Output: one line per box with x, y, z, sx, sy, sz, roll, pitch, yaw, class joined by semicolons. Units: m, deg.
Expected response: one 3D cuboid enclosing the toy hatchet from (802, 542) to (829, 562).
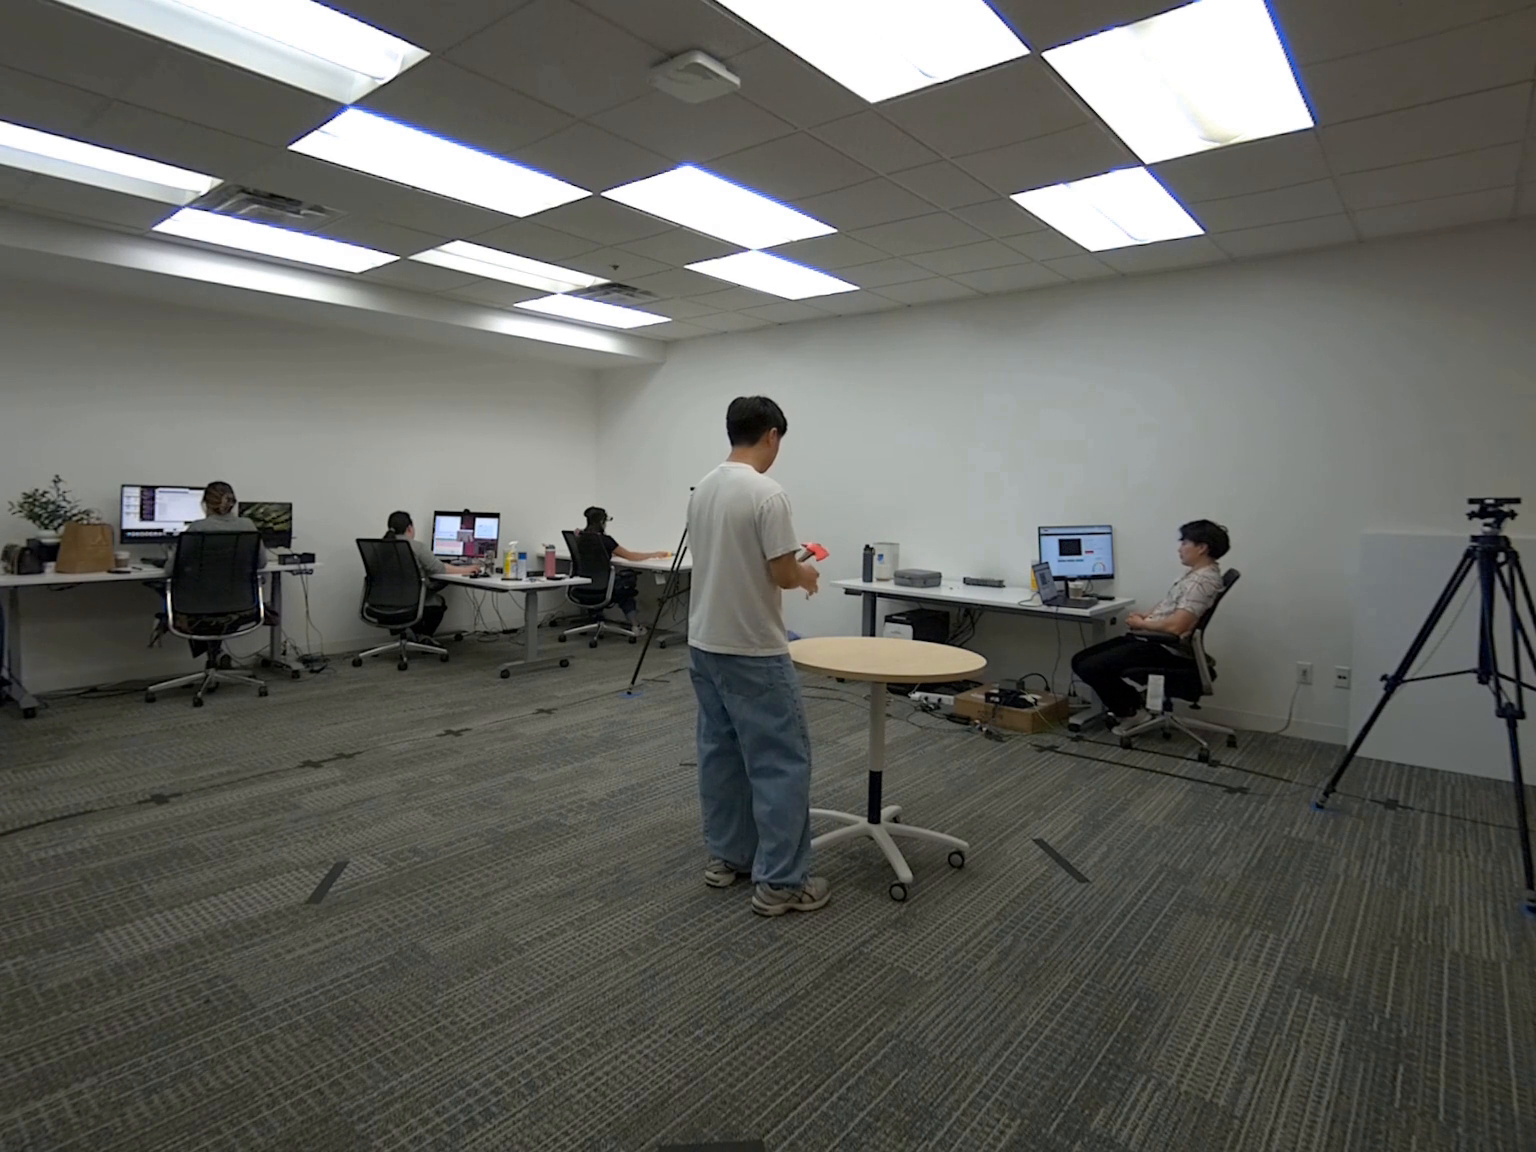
0.142;-0.043;3.220;0.134;0.029;0.272;10;41;16;toy hatchet
